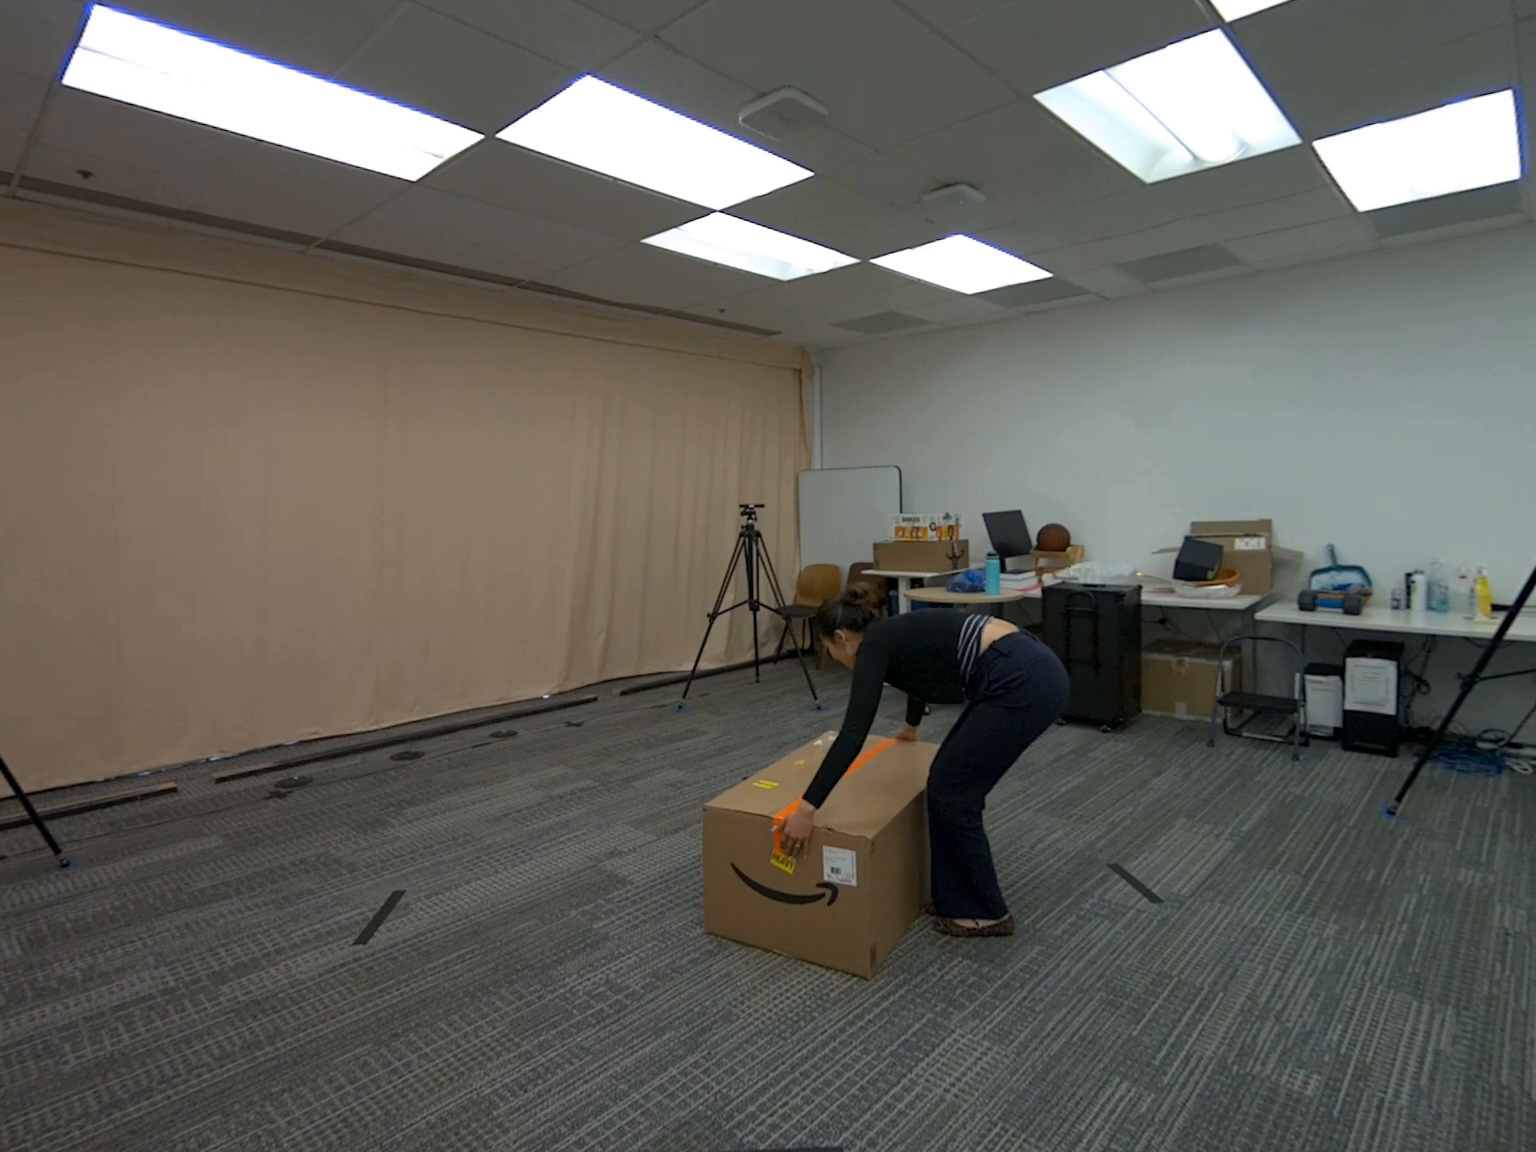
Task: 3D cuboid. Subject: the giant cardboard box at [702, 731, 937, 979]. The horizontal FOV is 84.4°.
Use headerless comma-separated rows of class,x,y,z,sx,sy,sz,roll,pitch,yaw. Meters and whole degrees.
giant cardboard box,0.281,0.917,3.019,0.594,0.425,1.000,3,6,29
